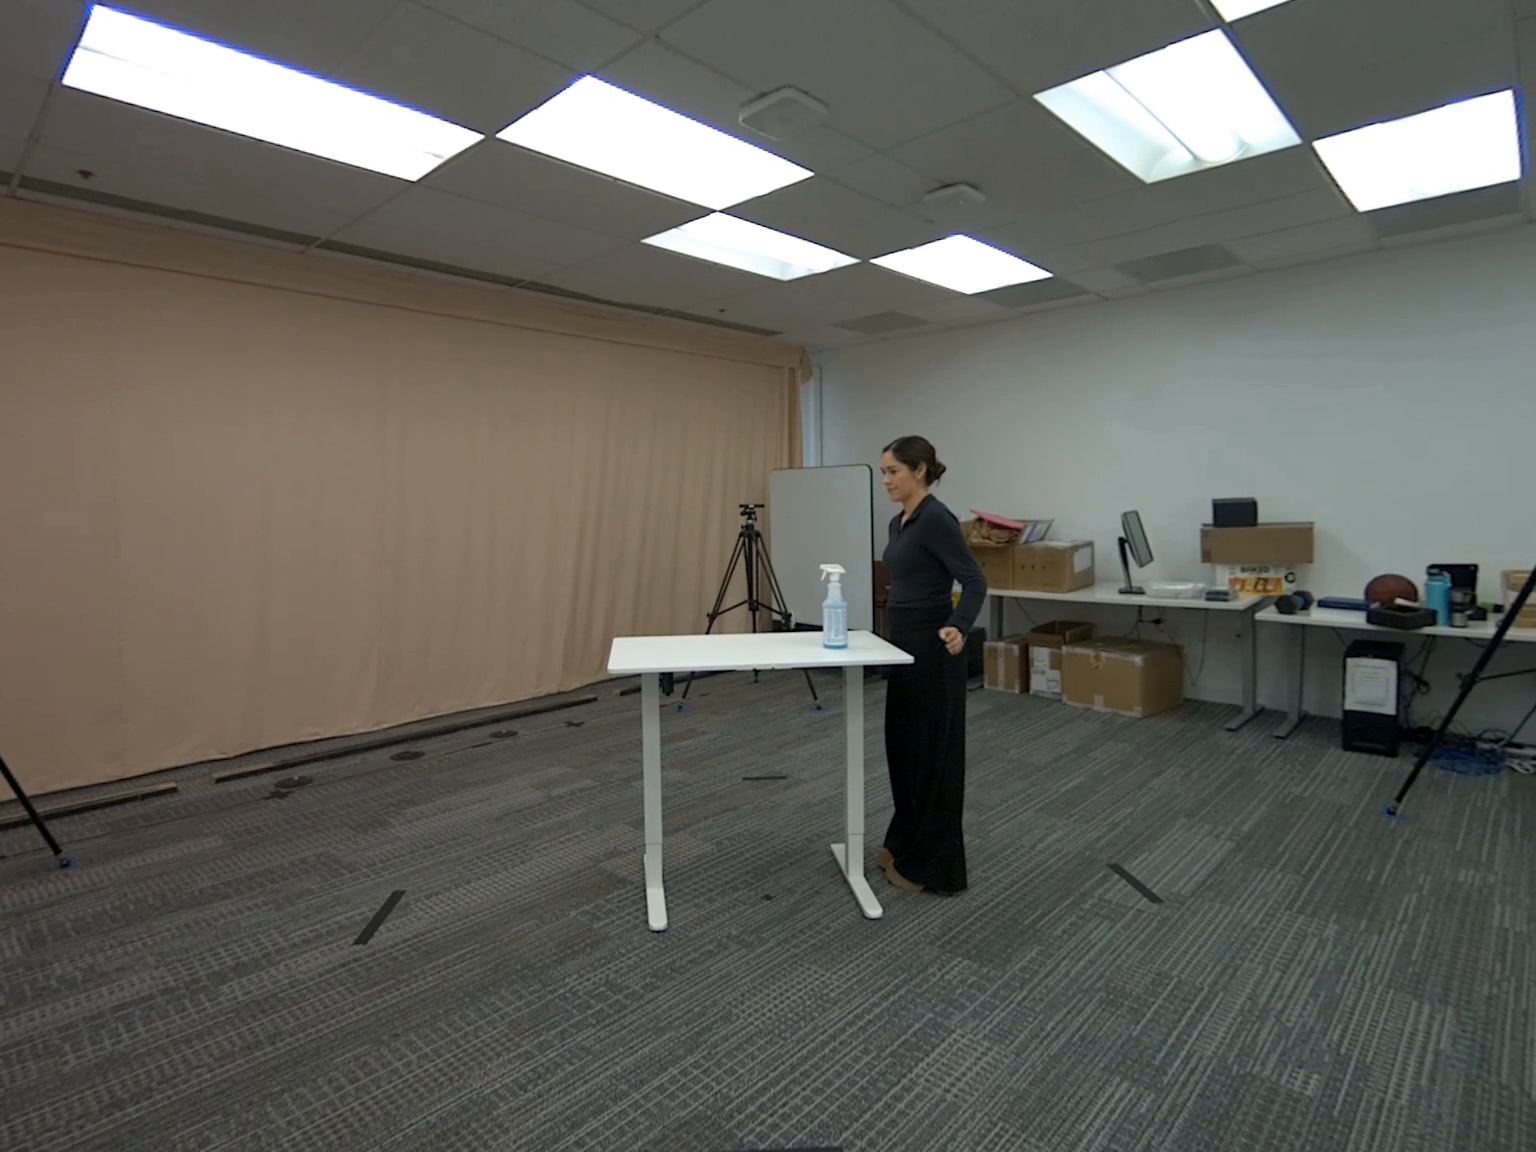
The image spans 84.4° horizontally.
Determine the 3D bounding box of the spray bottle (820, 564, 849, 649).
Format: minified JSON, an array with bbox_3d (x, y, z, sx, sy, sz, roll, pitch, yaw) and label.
[{"bbox_3d":[0.248,0.110,2.987,0.091,0.296,0.086,-2,4,14],"label":"spray bottle"}]
